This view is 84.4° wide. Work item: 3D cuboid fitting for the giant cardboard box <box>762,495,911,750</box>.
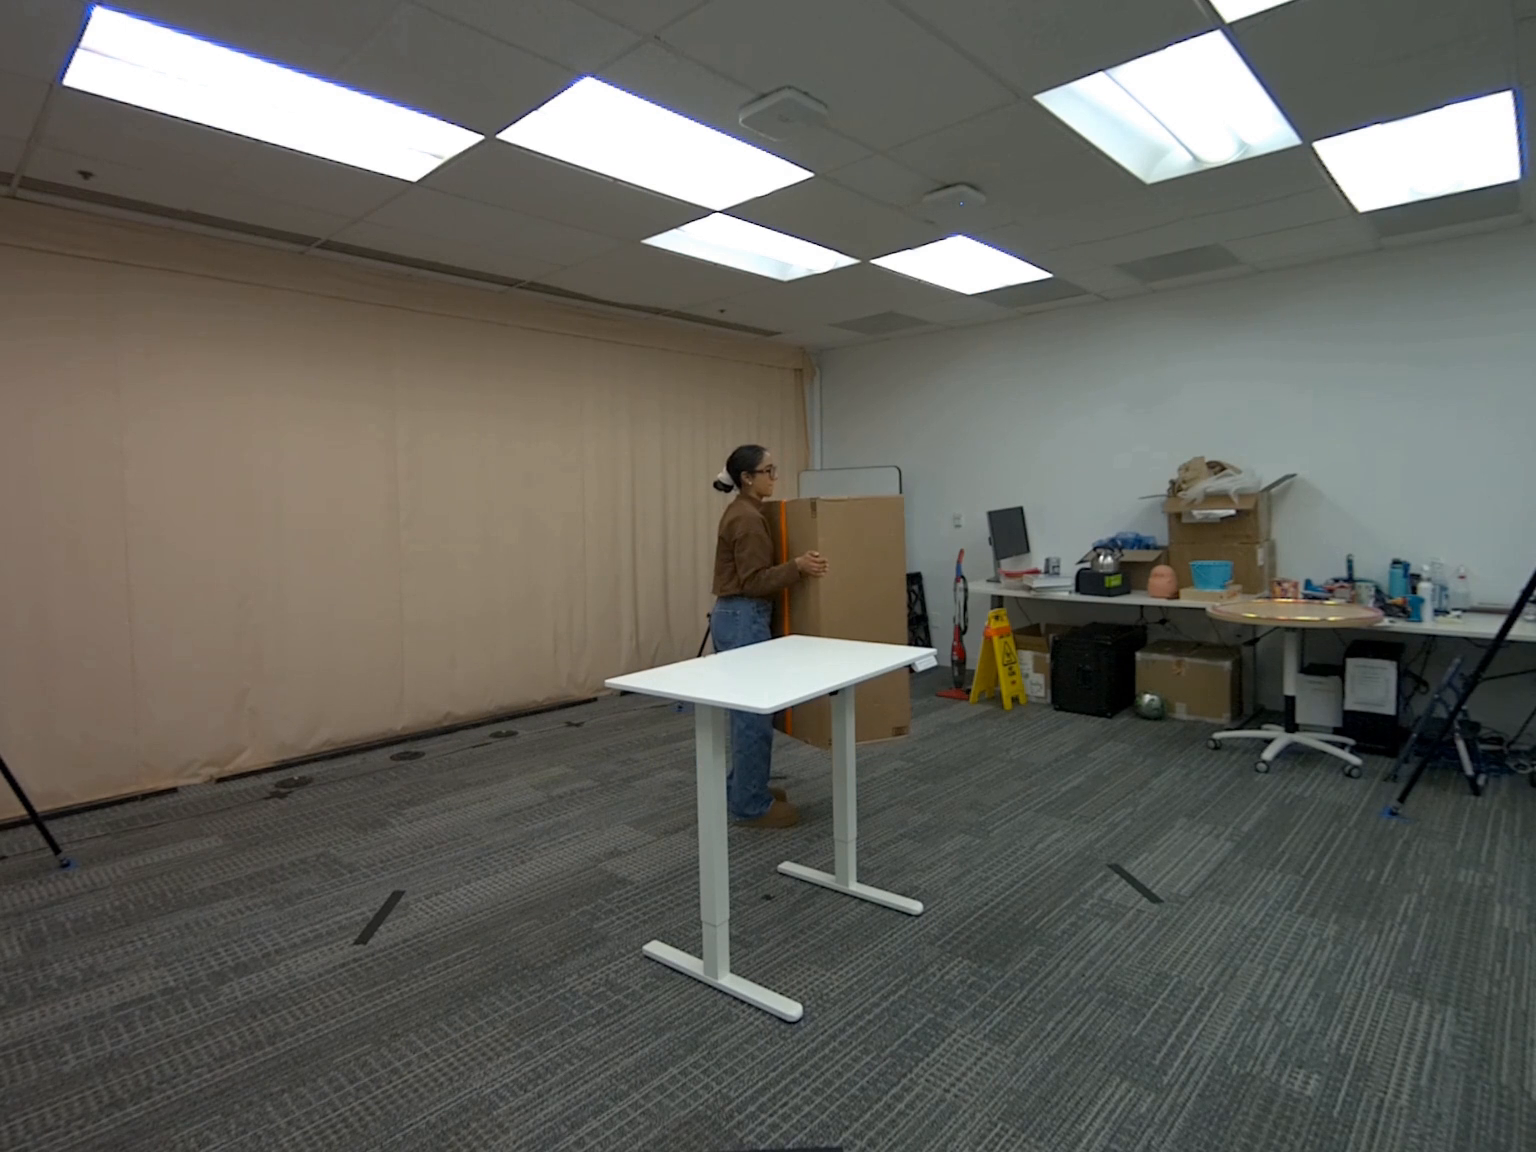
[{"bbox_3d":[0.276,0.173,3.718,0.416,1.024,0.592,-3,2,-26],"label":"giant cardboard box"}]
